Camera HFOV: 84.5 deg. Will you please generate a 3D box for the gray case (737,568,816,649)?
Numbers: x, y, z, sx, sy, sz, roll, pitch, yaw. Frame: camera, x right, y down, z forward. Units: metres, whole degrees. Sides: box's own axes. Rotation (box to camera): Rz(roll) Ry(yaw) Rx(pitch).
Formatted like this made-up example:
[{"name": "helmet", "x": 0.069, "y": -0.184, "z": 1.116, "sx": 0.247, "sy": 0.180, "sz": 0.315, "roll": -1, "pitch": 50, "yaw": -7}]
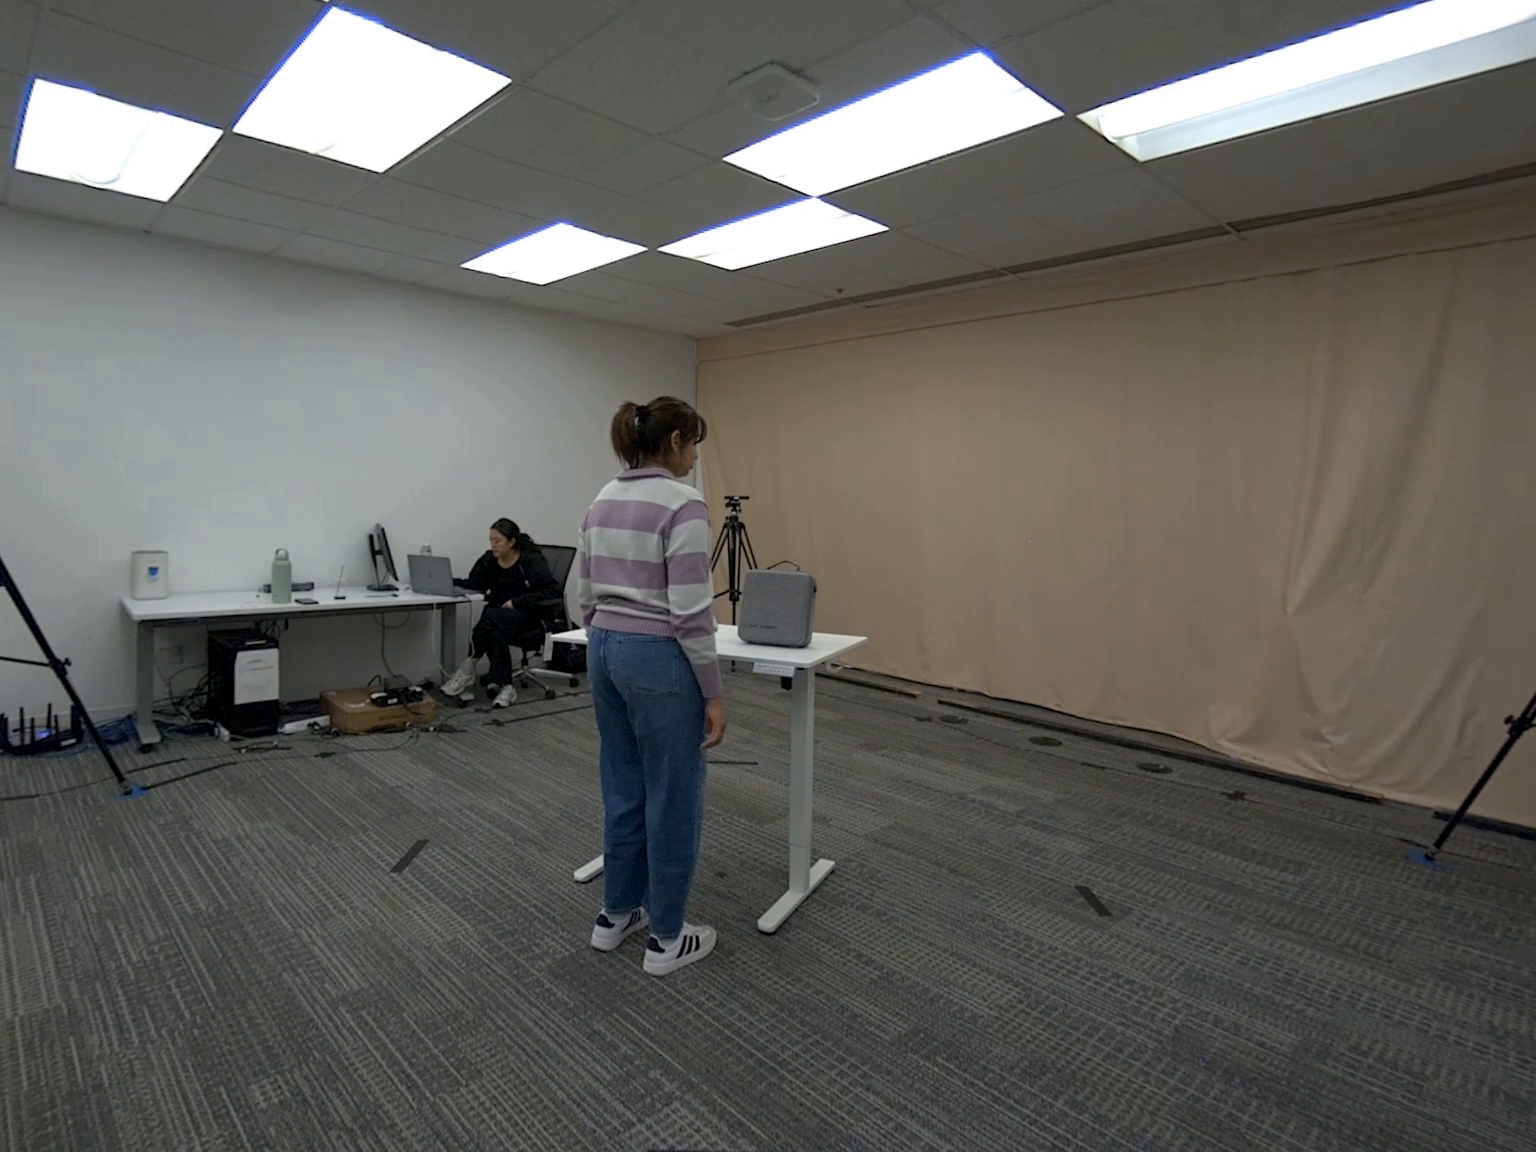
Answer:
[{"name": "gray case", "x": 0.022, "y": 0.109, "z": 2.919, "sx": 0.262, "sy": 0.262, "sz": 0.102, "roll": 4, "pitch": -8, "yaw": 25}]
